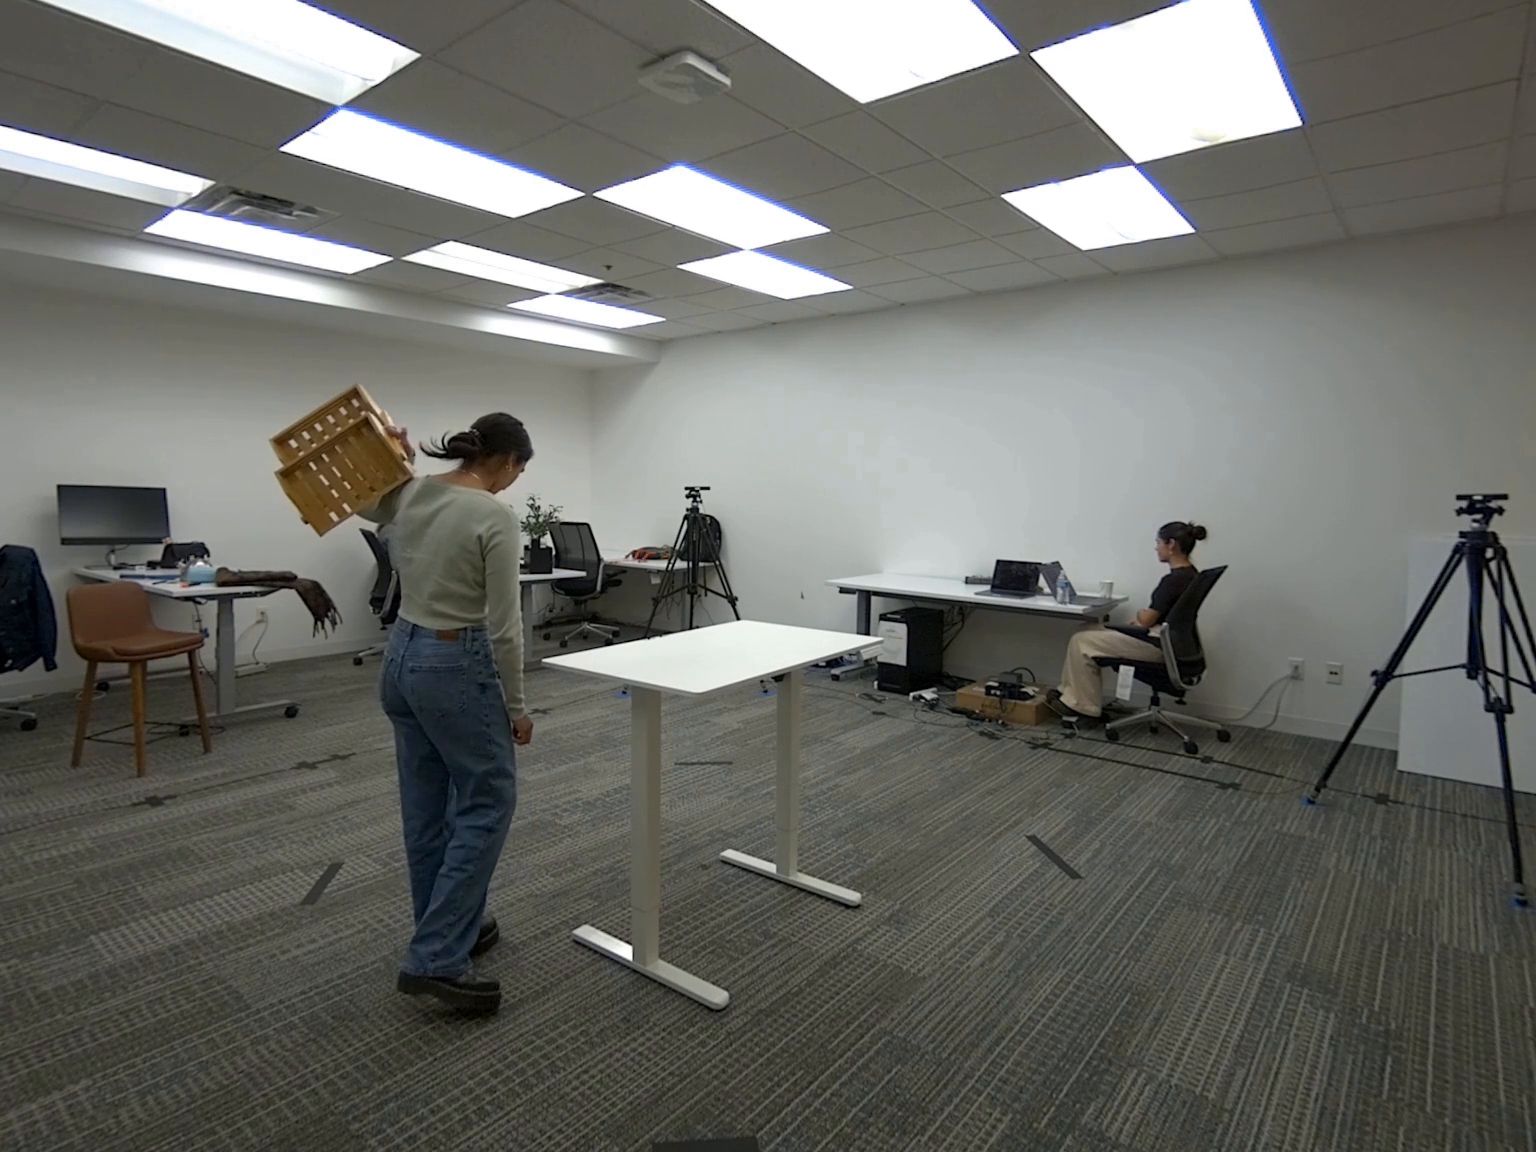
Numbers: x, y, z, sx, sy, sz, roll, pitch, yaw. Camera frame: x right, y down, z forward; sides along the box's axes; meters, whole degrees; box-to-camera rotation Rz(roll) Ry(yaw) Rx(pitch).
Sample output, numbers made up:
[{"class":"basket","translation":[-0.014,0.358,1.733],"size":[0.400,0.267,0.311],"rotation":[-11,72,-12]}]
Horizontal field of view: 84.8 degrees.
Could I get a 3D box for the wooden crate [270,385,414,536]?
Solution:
[{"class":"wooden crate","translation":[-1.241,-0.344,2.421],"size":[0.324,0.295,0.280],"rotation":[-35,19,-5]}]
